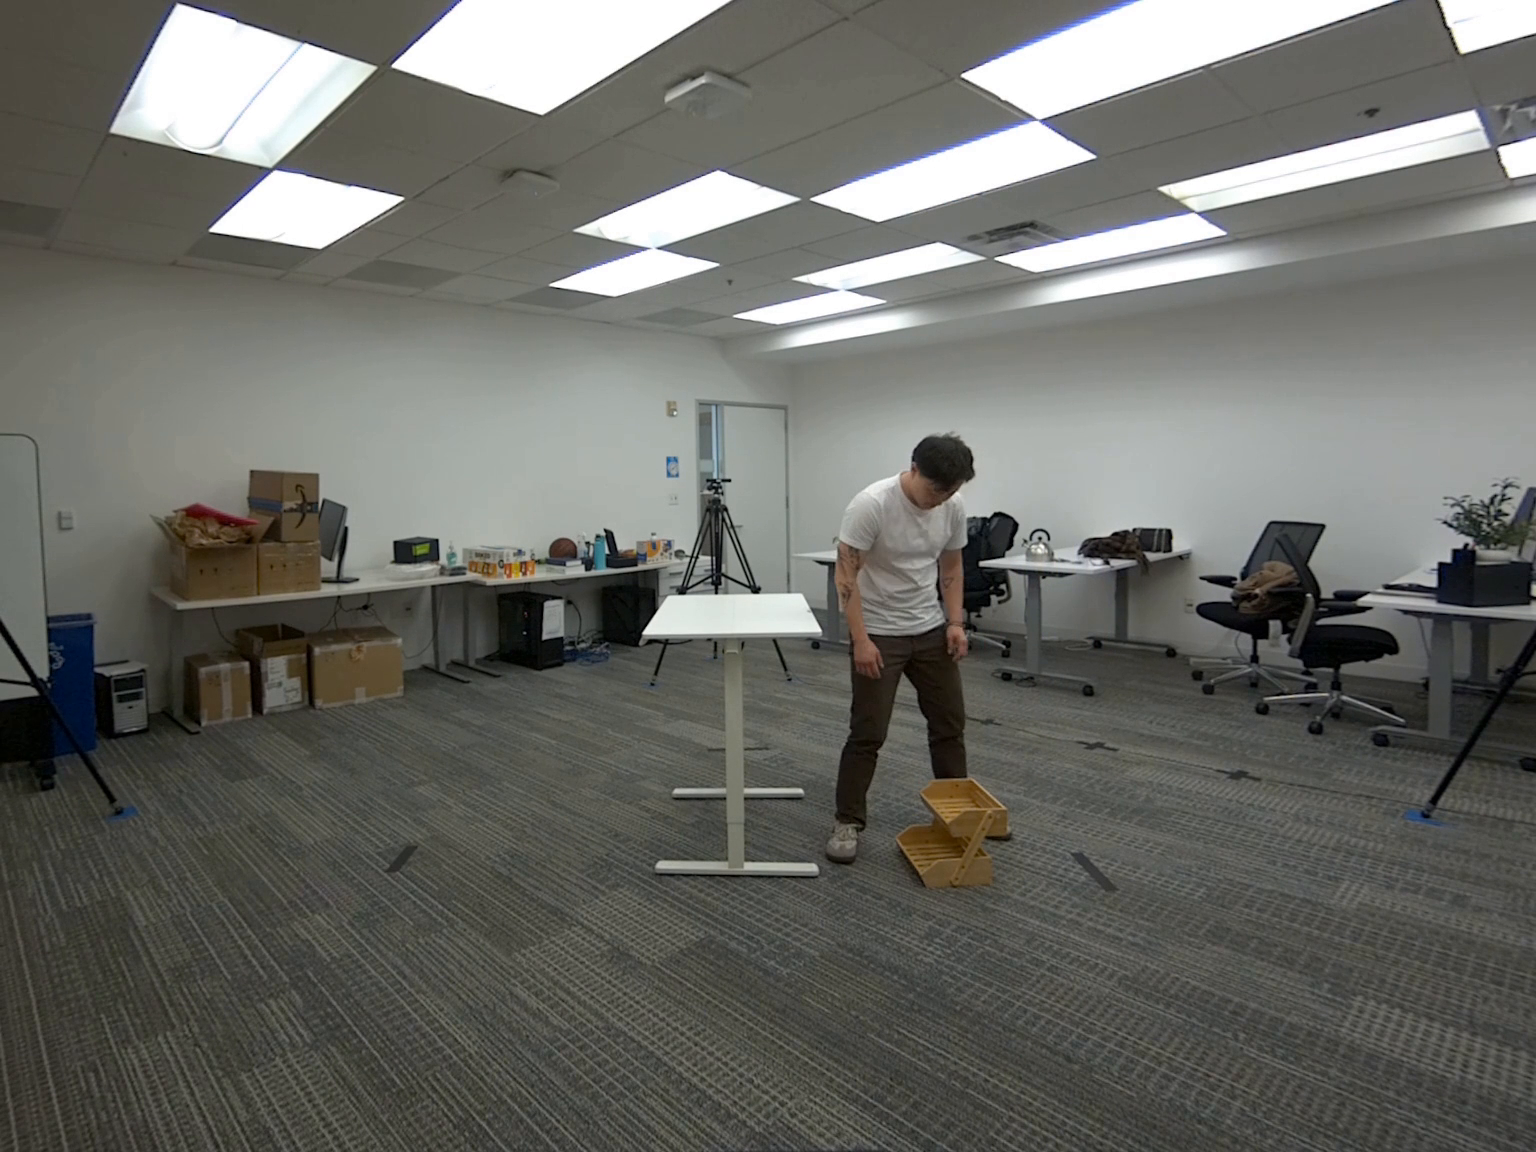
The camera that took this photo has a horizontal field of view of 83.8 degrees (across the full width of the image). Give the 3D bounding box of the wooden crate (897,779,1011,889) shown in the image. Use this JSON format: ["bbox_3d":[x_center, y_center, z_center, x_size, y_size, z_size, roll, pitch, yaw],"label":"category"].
[{"bbox_3d":[0.650,0.911,3.056,0.300,0.272,0.328,2,5,-7],"label":"wooden crate"}]
